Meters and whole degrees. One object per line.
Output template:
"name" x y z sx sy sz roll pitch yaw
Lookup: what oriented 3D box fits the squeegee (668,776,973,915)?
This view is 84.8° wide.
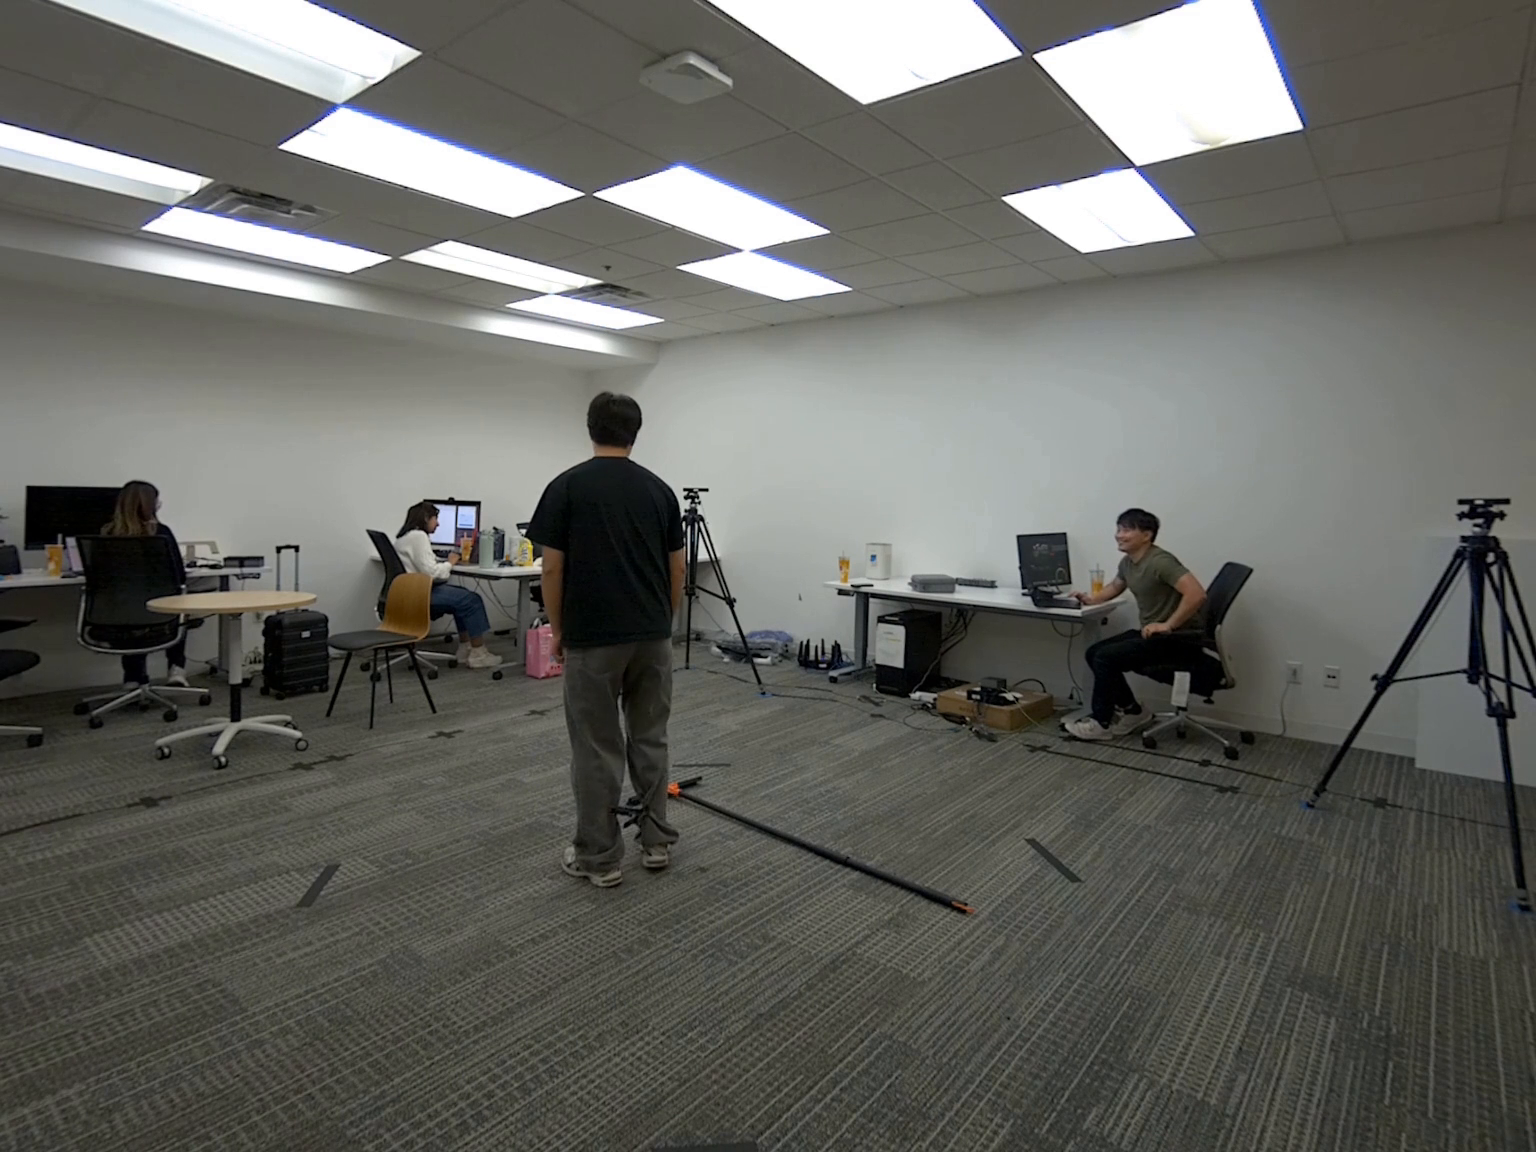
"squeegee" 0.088 1.020 3.345 1.592 0.052 0.425 8 10 43
